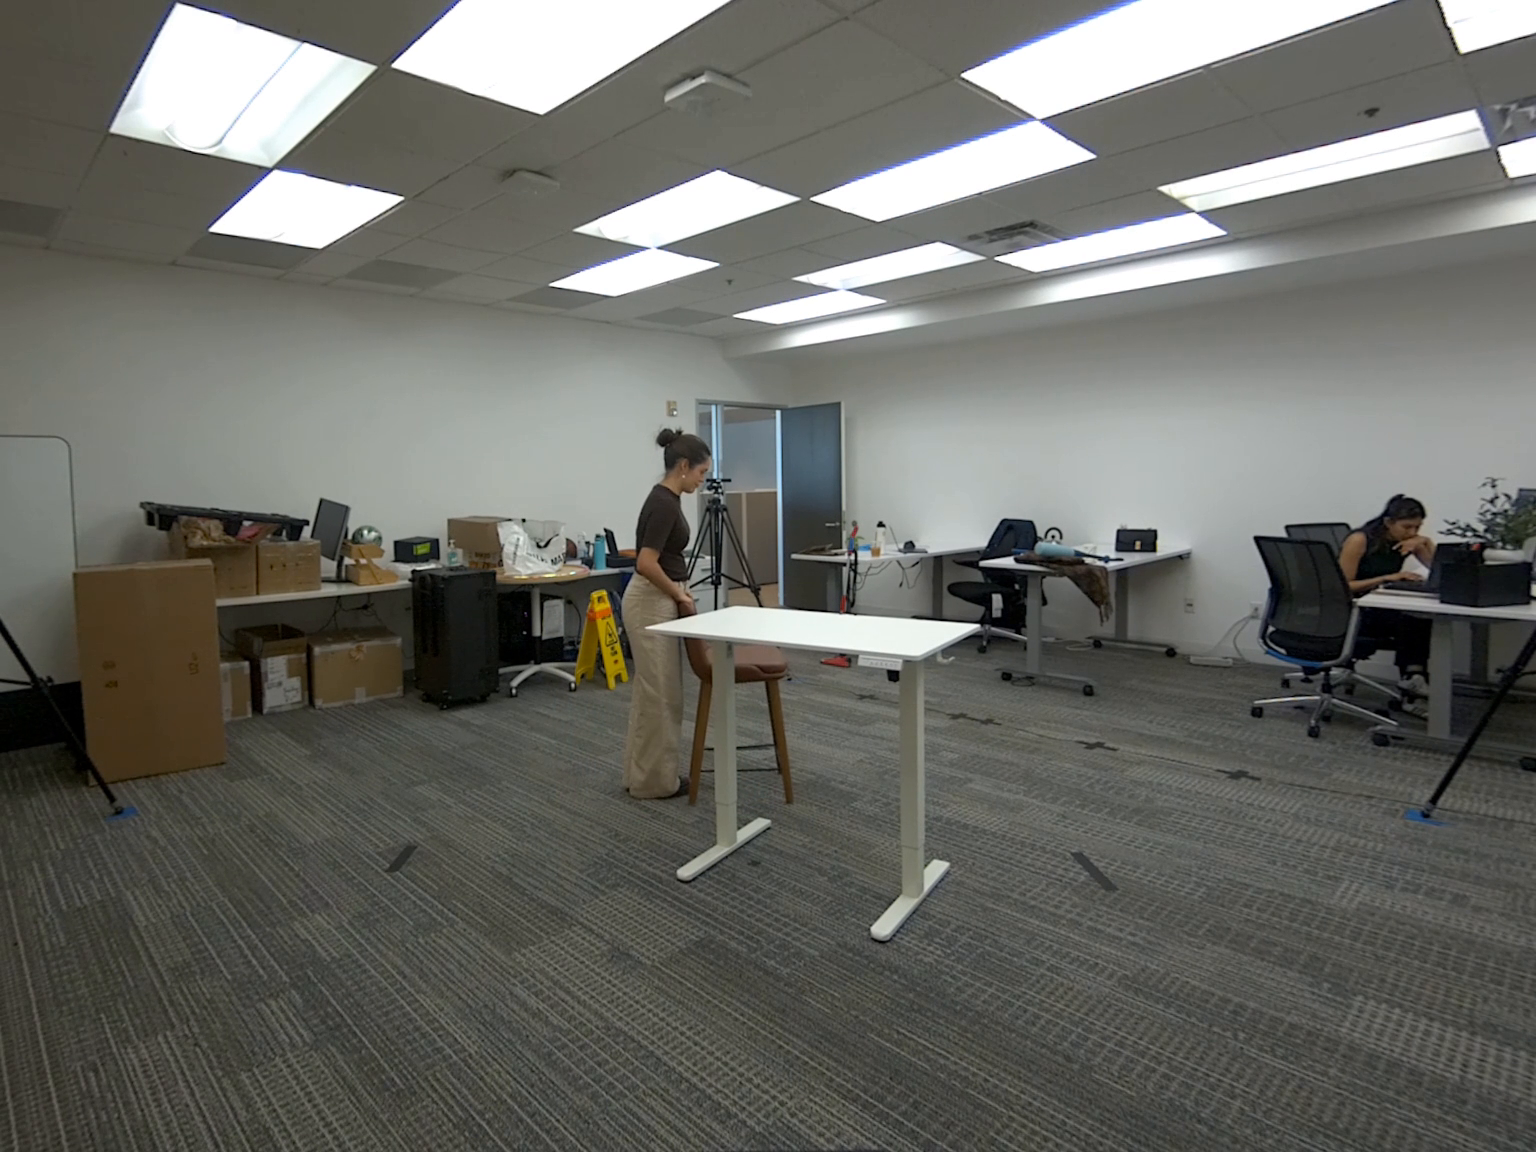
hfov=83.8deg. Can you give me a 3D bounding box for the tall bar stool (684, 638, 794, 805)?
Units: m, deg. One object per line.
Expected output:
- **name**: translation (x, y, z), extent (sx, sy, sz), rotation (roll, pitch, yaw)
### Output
- **tall bar stool**: translation (-0.145, 0.532, 3.844), extent (0.467, 0.888, 0.458), rotation (-3, 2, -1)
